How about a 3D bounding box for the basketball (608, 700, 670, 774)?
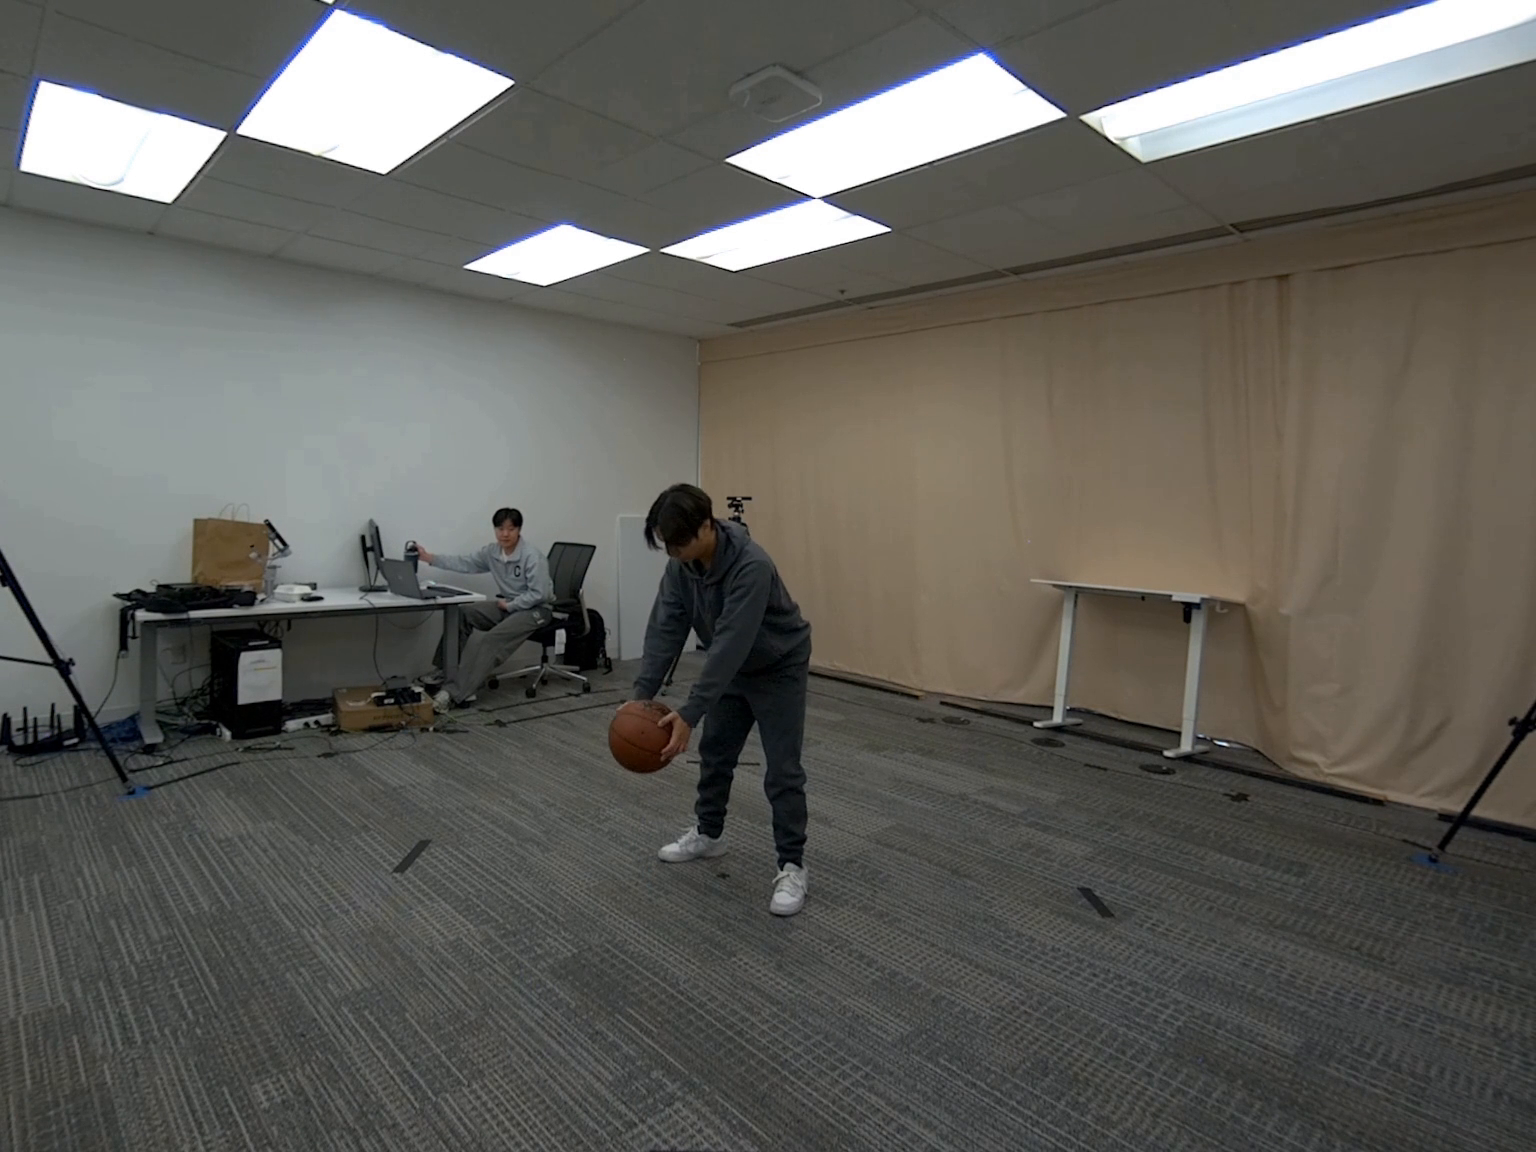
[{"bbox_3d":[-0.411,0.530,2.775,0.236,0.235,0.237,1,4,-1],"label":"basketball"}]
